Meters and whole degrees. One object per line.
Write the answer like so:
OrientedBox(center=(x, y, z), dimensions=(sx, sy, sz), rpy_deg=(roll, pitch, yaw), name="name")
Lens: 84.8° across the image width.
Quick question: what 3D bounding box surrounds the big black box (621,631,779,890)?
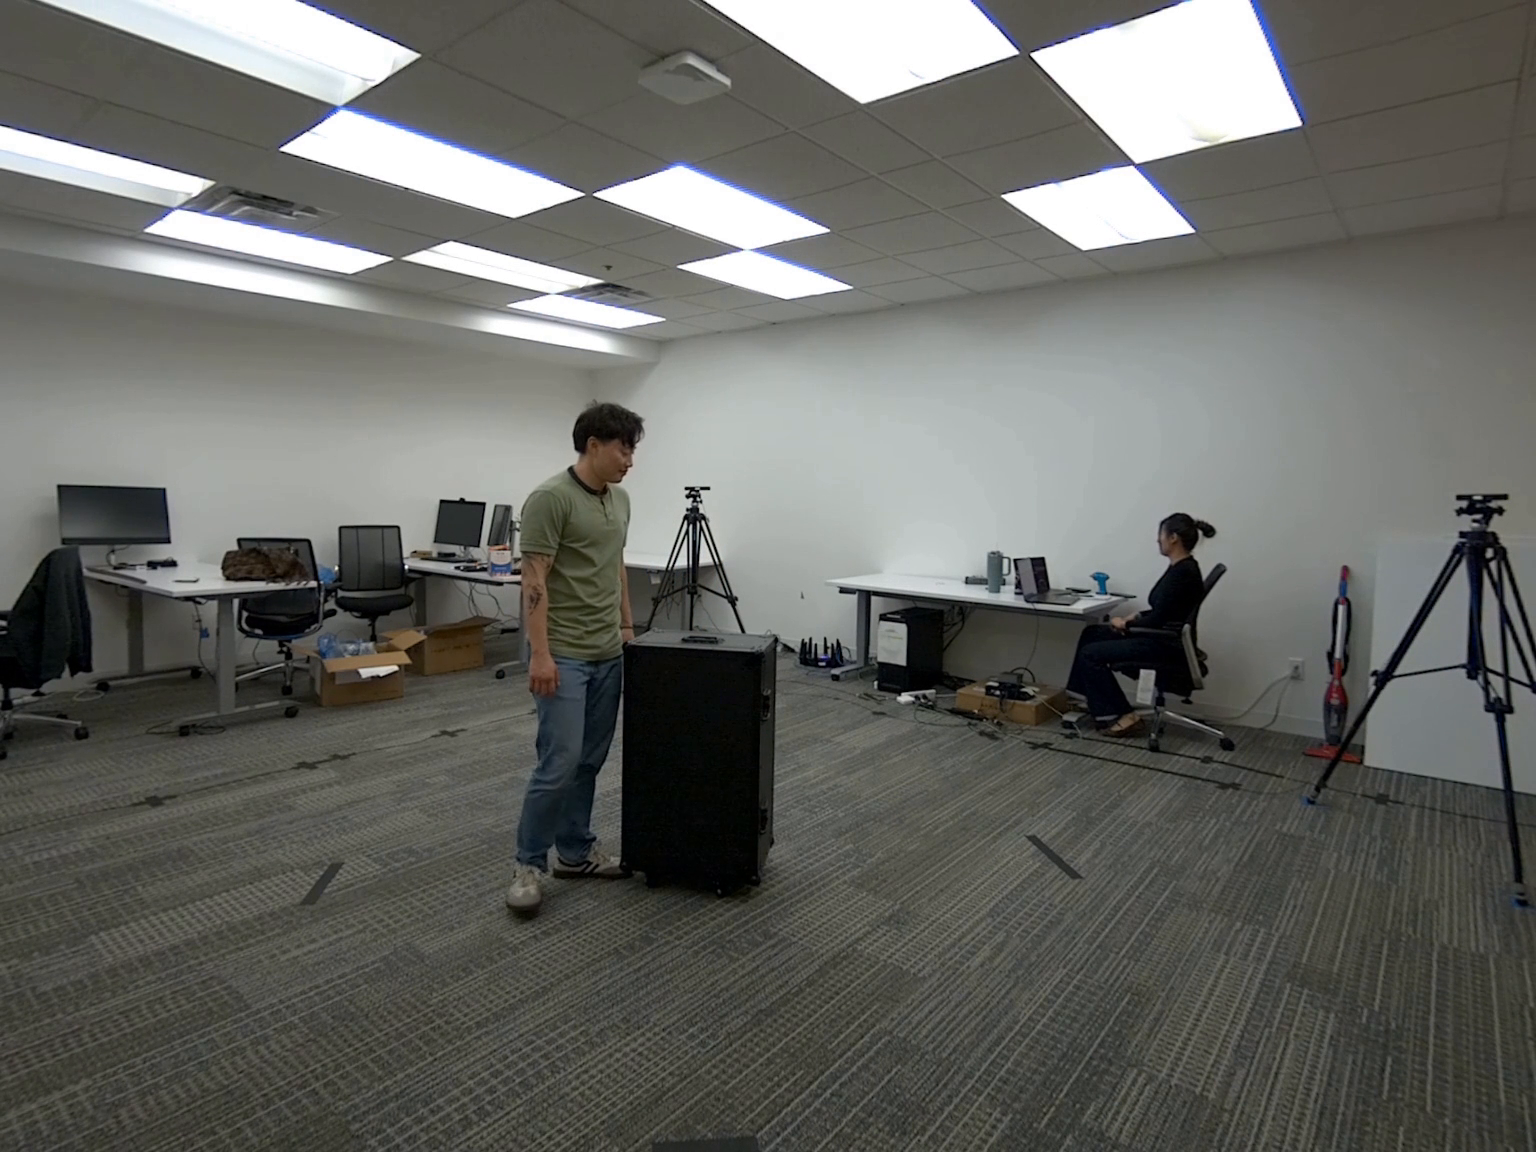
OrientedBox(center=(-0.249, 0.650, 3.037), dimensions=(0.528, 0.859, 0.392), rpy_deg=(2, 3, 11), name="big black box")
